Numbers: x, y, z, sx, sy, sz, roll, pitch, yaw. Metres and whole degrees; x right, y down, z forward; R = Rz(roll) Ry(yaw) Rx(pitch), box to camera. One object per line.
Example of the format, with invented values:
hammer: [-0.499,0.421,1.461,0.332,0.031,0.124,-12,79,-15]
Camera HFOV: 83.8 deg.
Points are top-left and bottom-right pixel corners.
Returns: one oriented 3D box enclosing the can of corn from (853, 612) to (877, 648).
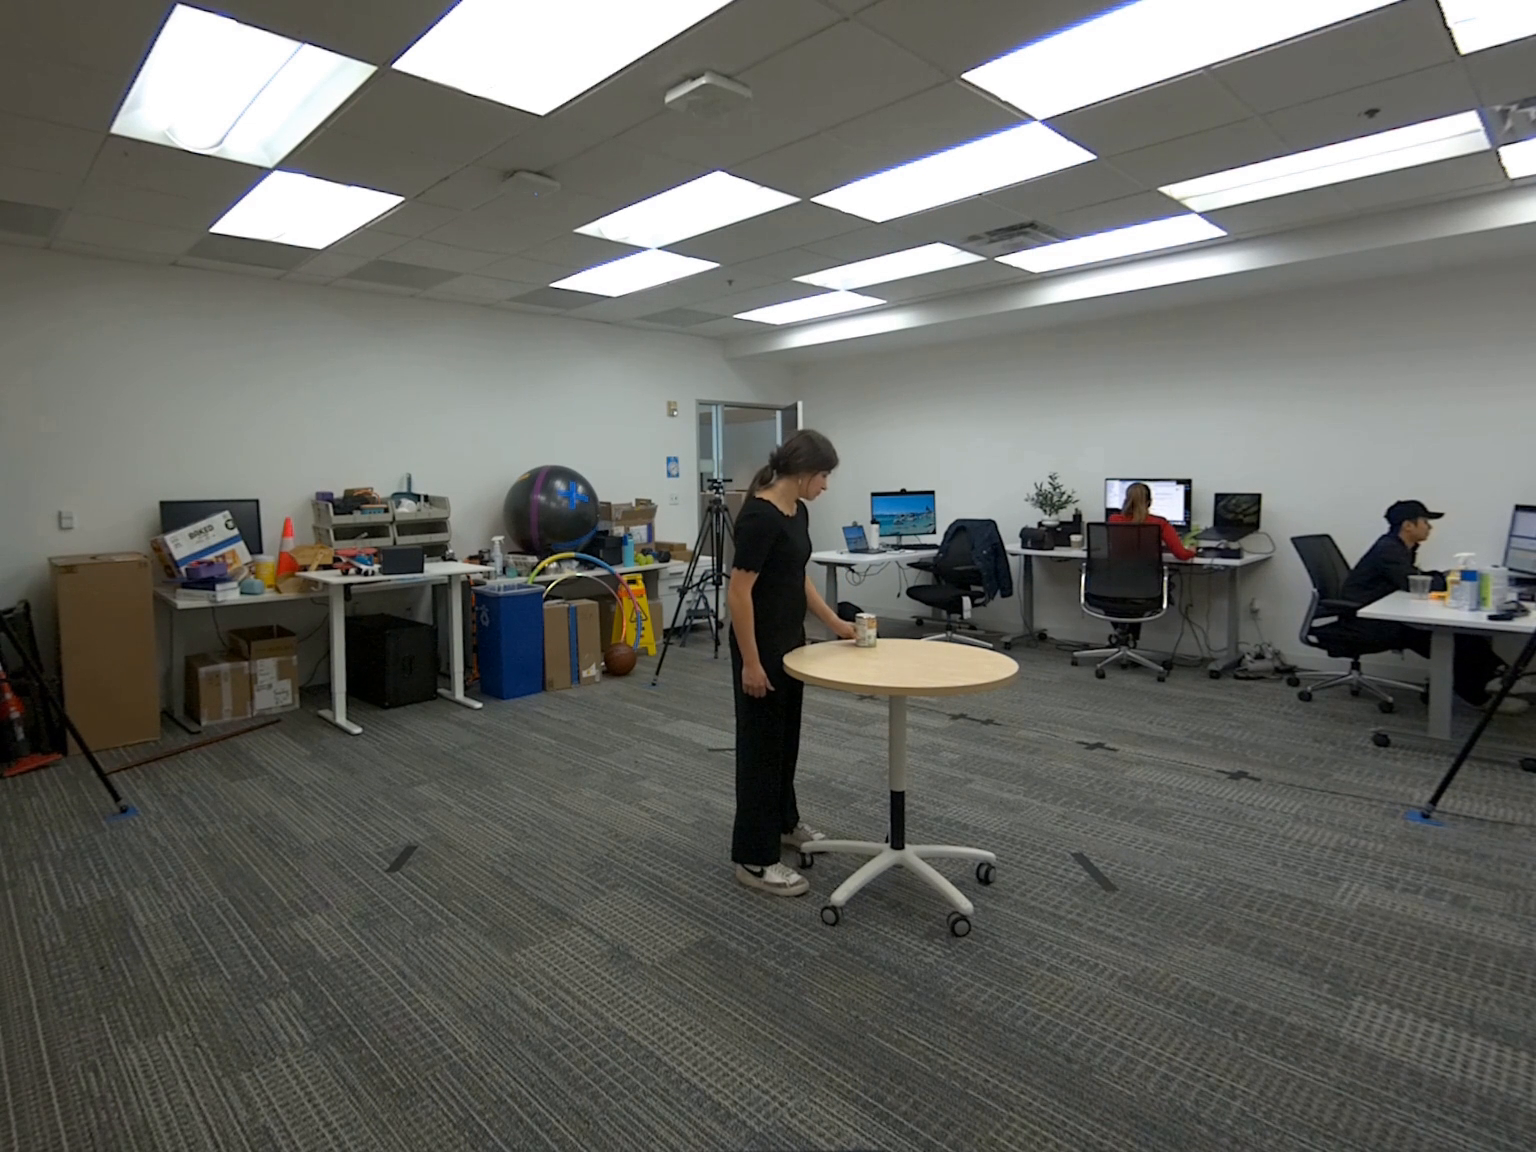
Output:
can of corn: [0.349,0.198,3.101,0.074,0.111,0.074,0,4,-2]
